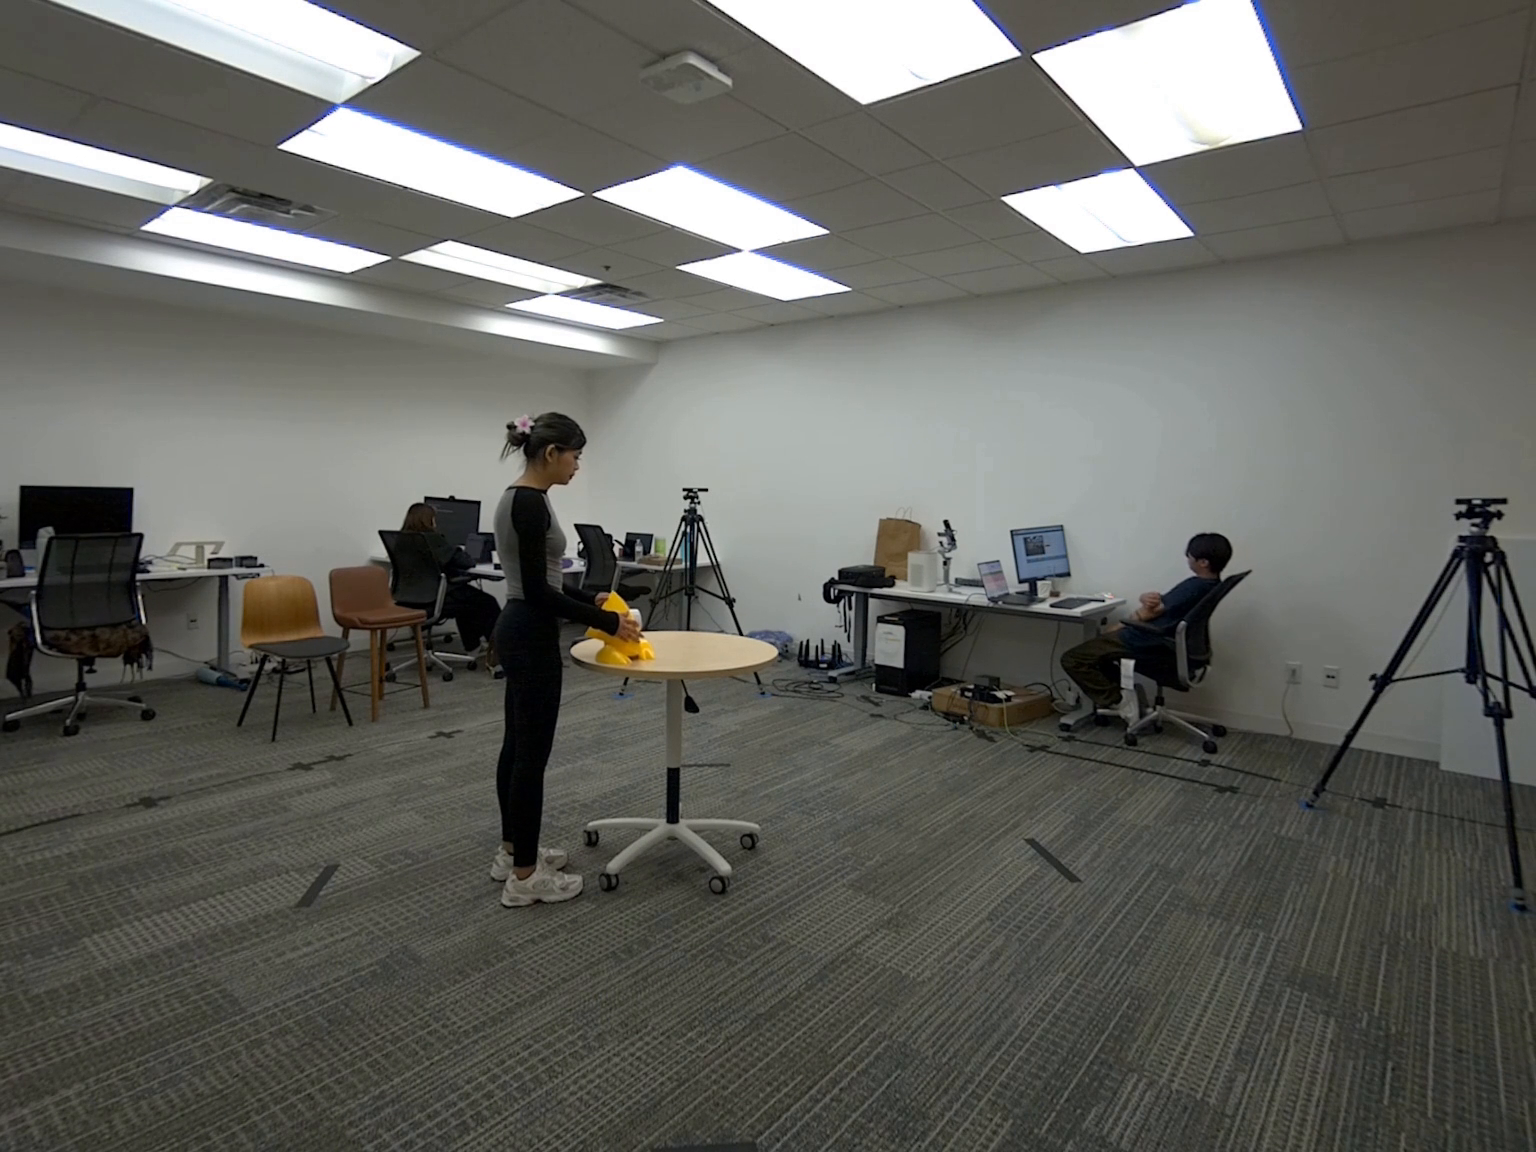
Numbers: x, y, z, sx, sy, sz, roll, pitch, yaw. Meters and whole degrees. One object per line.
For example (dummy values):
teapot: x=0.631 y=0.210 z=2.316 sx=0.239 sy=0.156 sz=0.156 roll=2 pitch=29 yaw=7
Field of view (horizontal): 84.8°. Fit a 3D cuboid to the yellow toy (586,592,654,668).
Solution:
yellow toy: x=-0.514 y=0.174 z=2.973 sx=0.200 sy=0.230 sz=0.199 roll=5 pitch=7 yaw=42
